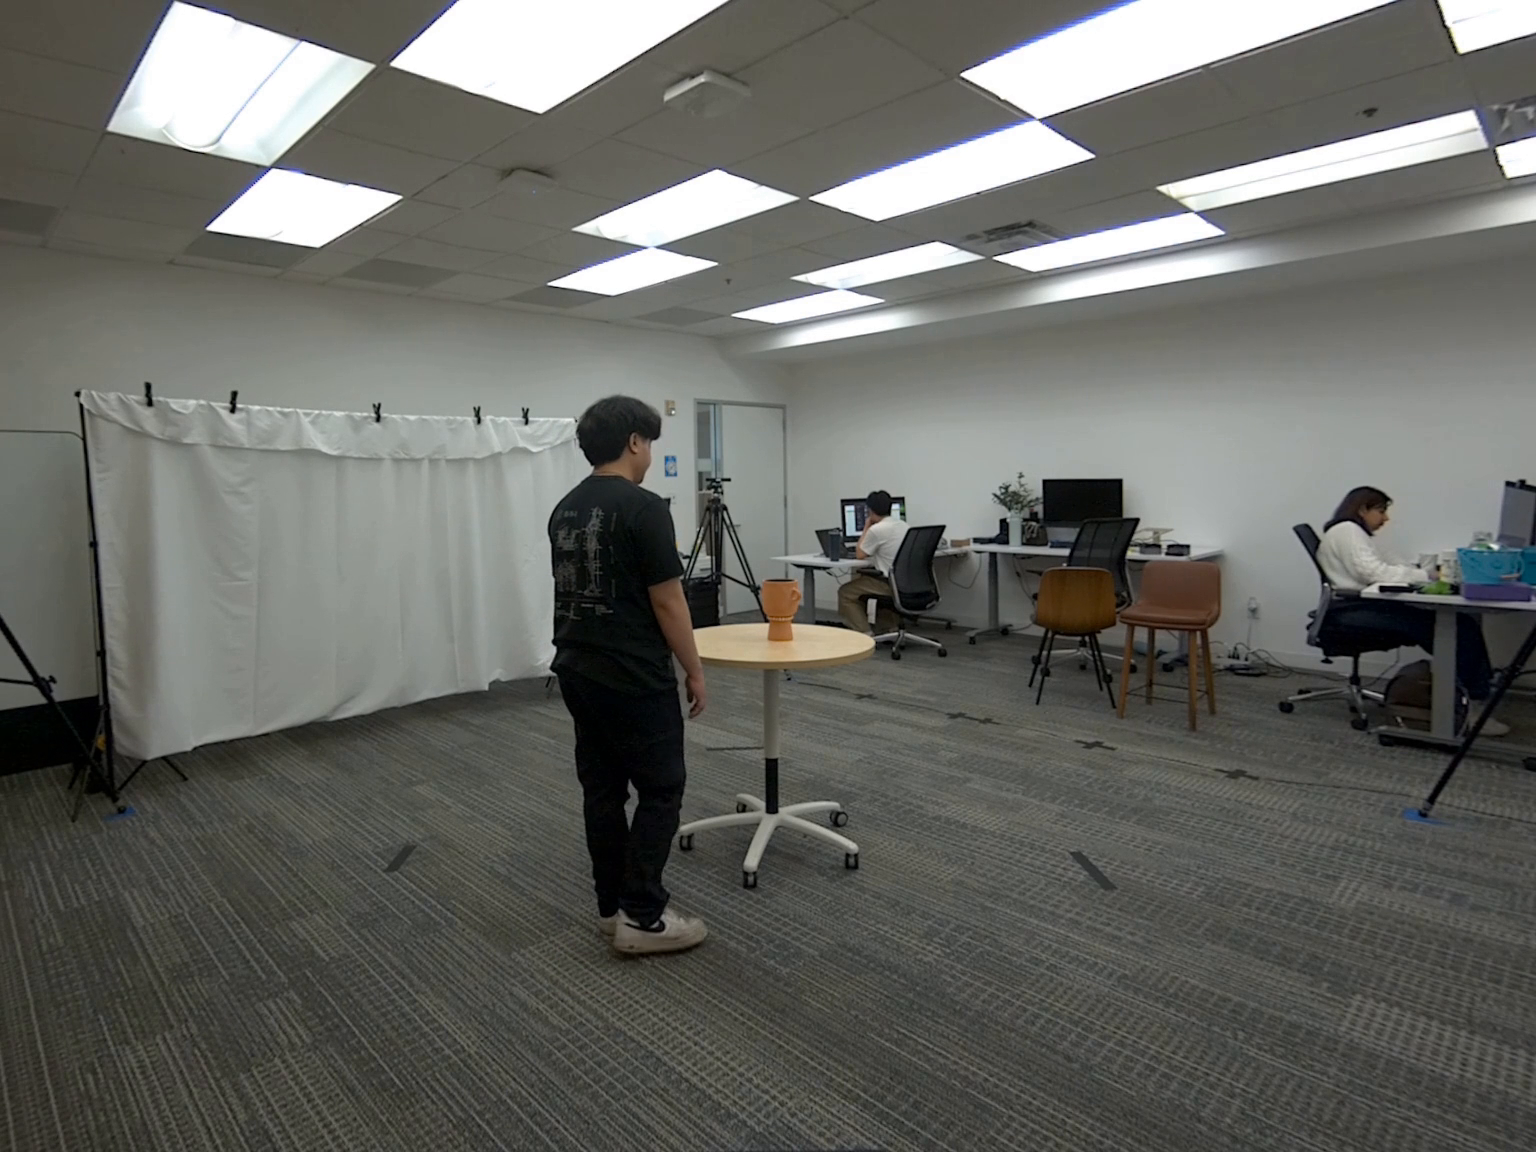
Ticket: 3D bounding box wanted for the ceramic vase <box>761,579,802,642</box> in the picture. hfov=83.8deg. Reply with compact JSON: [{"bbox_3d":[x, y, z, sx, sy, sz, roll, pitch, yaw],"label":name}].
[{"bbox_3d":[0.051,0.128,3.198,0.134,0.219,0.160,-1,3,-7],"label":"ceramic vase"}]
